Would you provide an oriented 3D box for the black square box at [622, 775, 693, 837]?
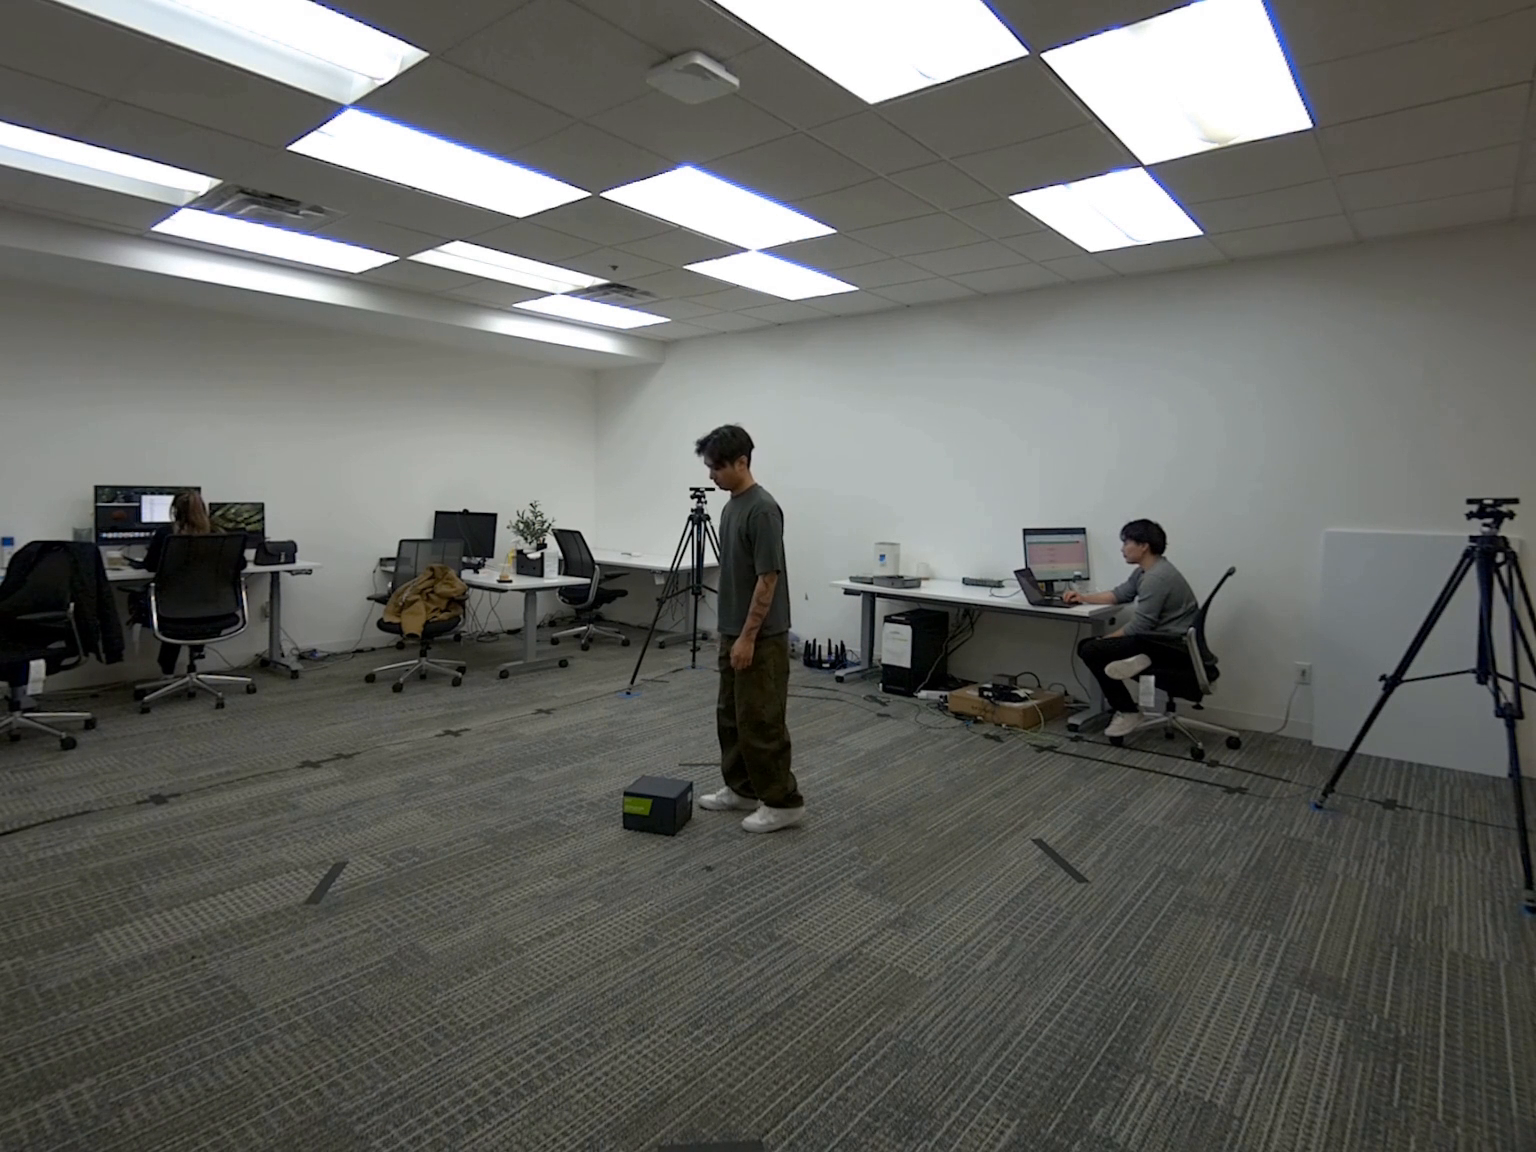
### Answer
[{"bbox_3d":[-0.467,0.939,3.521,0.232,0.155,0.214,2,5,16],"label":"black square box"}]
